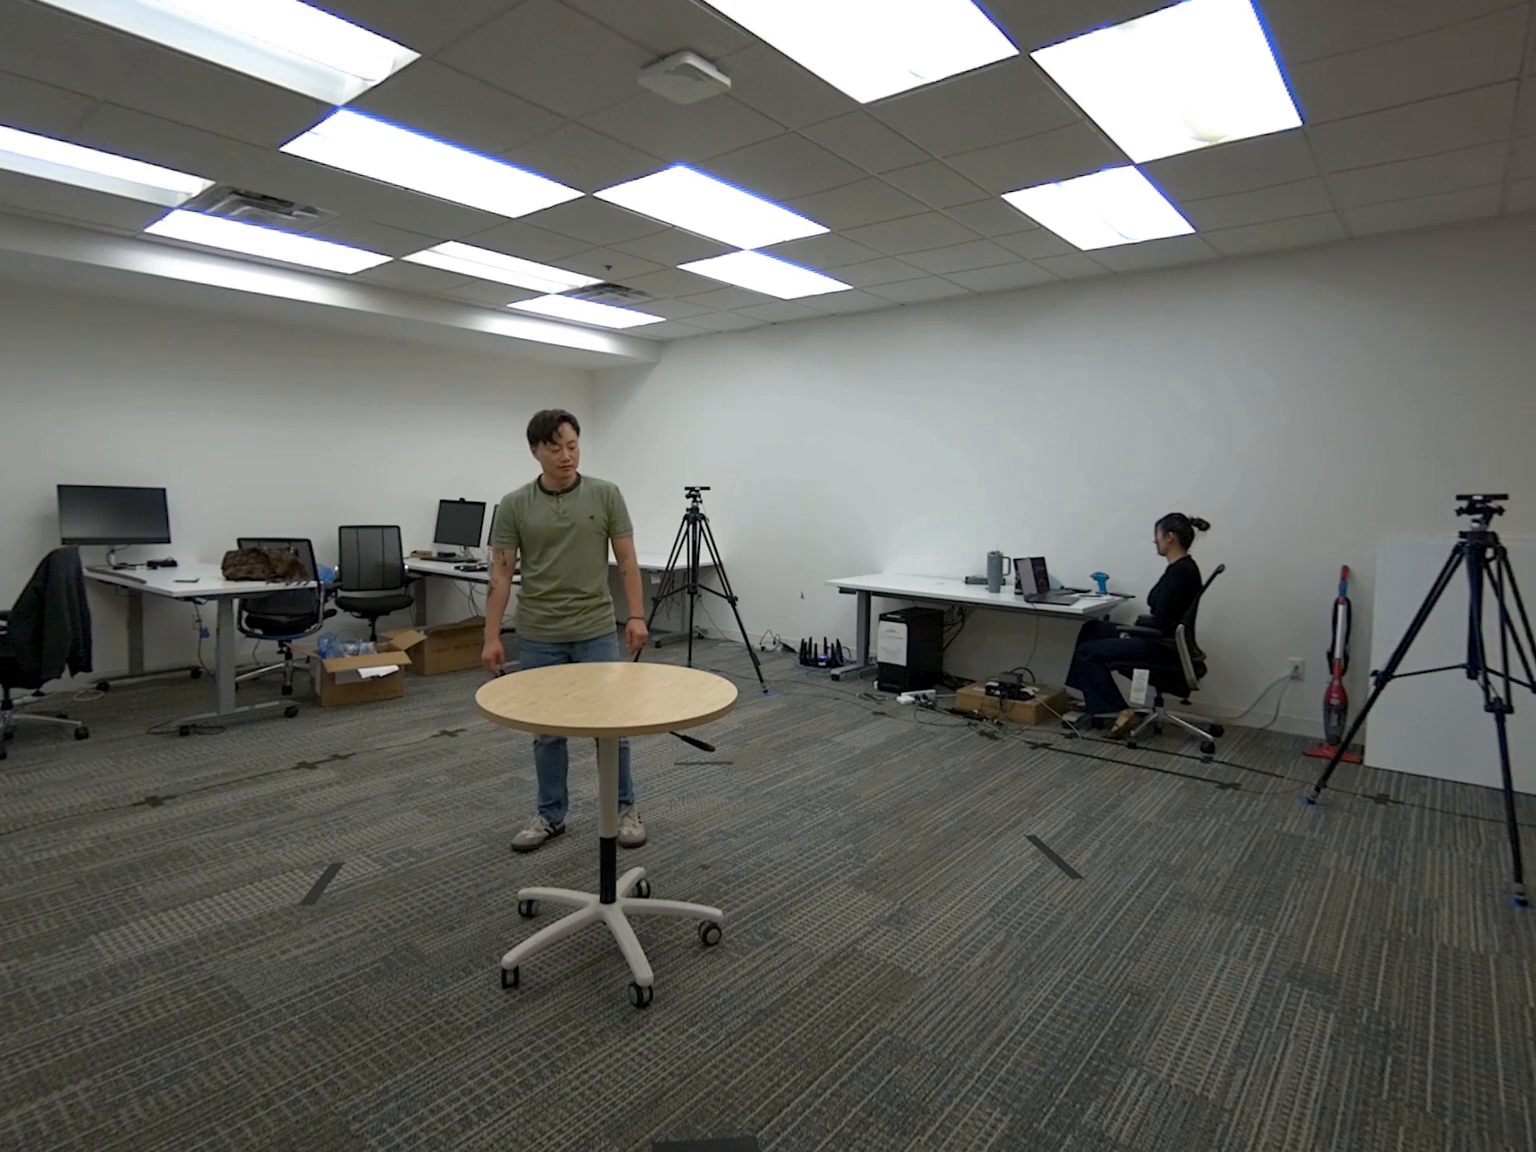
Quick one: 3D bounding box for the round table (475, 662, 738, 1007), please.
[{"bbox_3d":[-0.482,0.730,2.549,0.763,0.791,0.768,0,5,-2],"label":"round table"}]
